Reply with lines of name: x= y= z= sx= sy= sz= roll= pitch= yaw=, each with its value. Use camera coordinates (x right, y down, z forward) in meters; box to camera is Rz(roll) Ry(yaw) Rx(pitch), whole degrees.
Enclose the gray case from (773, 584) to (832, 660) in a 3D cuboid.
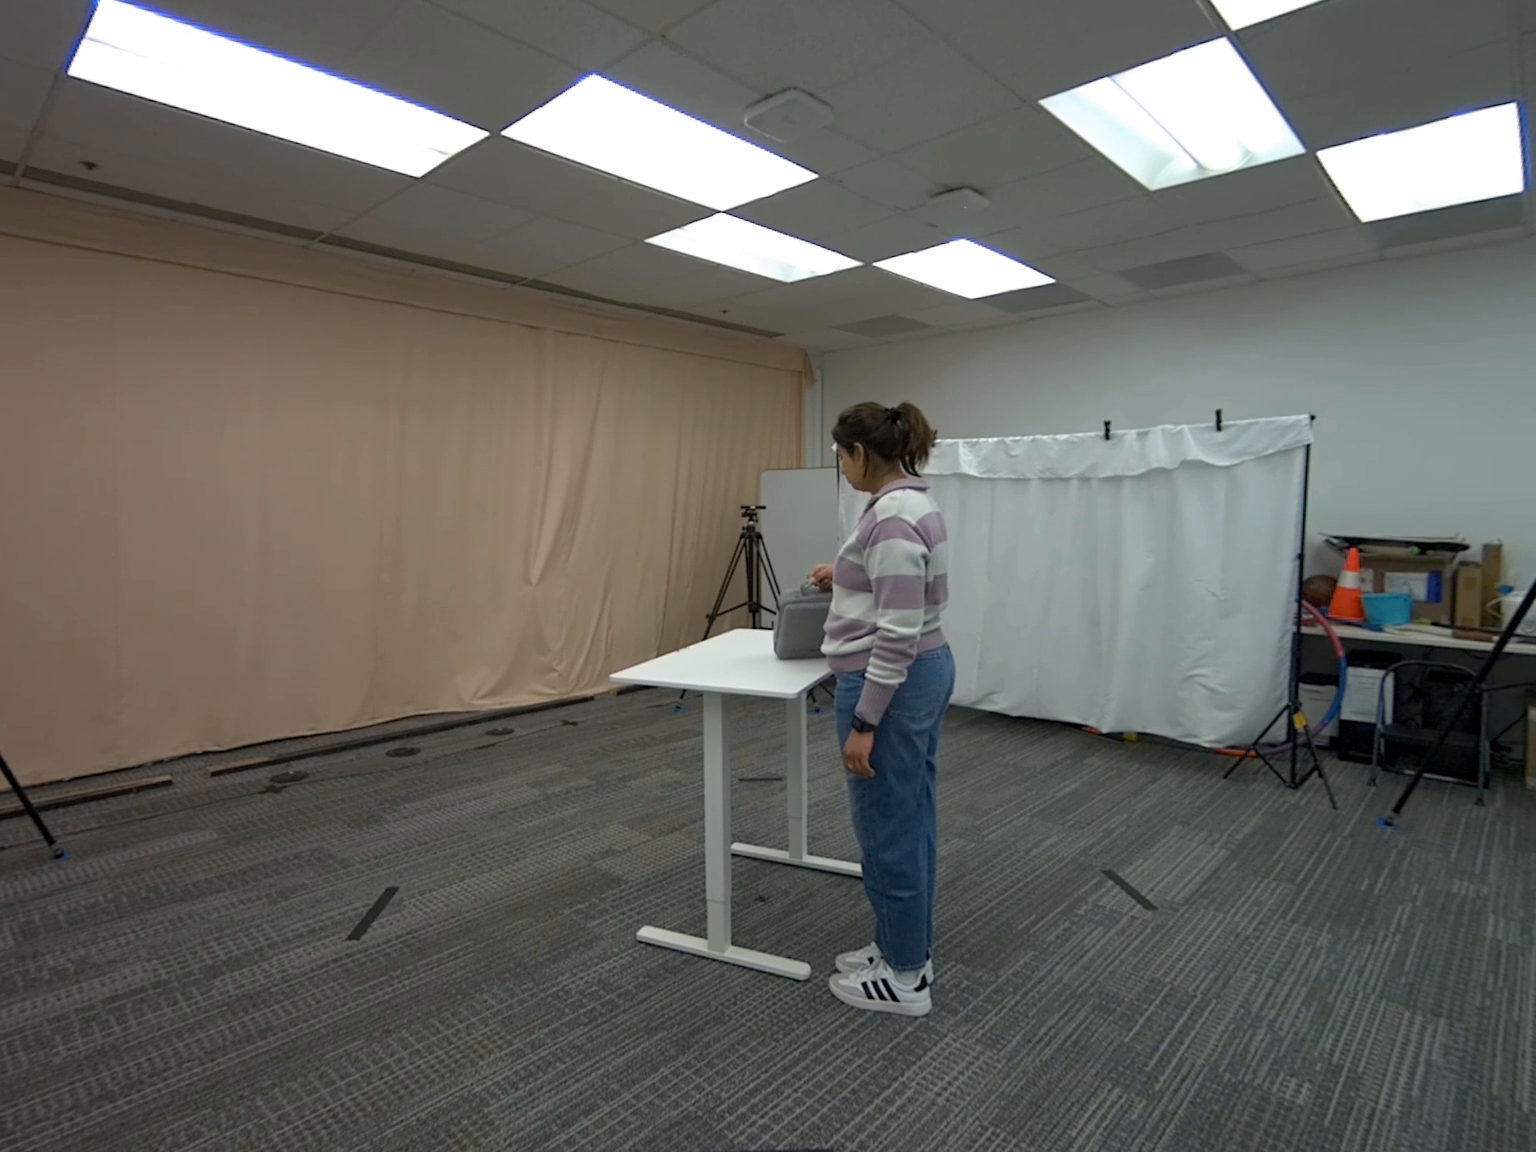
gray case: x=0.147 y=0.152 z=2.758 sx=0.255 sy=0.257 sz=0.107 roll=0 pitch=37 yaw=-8
